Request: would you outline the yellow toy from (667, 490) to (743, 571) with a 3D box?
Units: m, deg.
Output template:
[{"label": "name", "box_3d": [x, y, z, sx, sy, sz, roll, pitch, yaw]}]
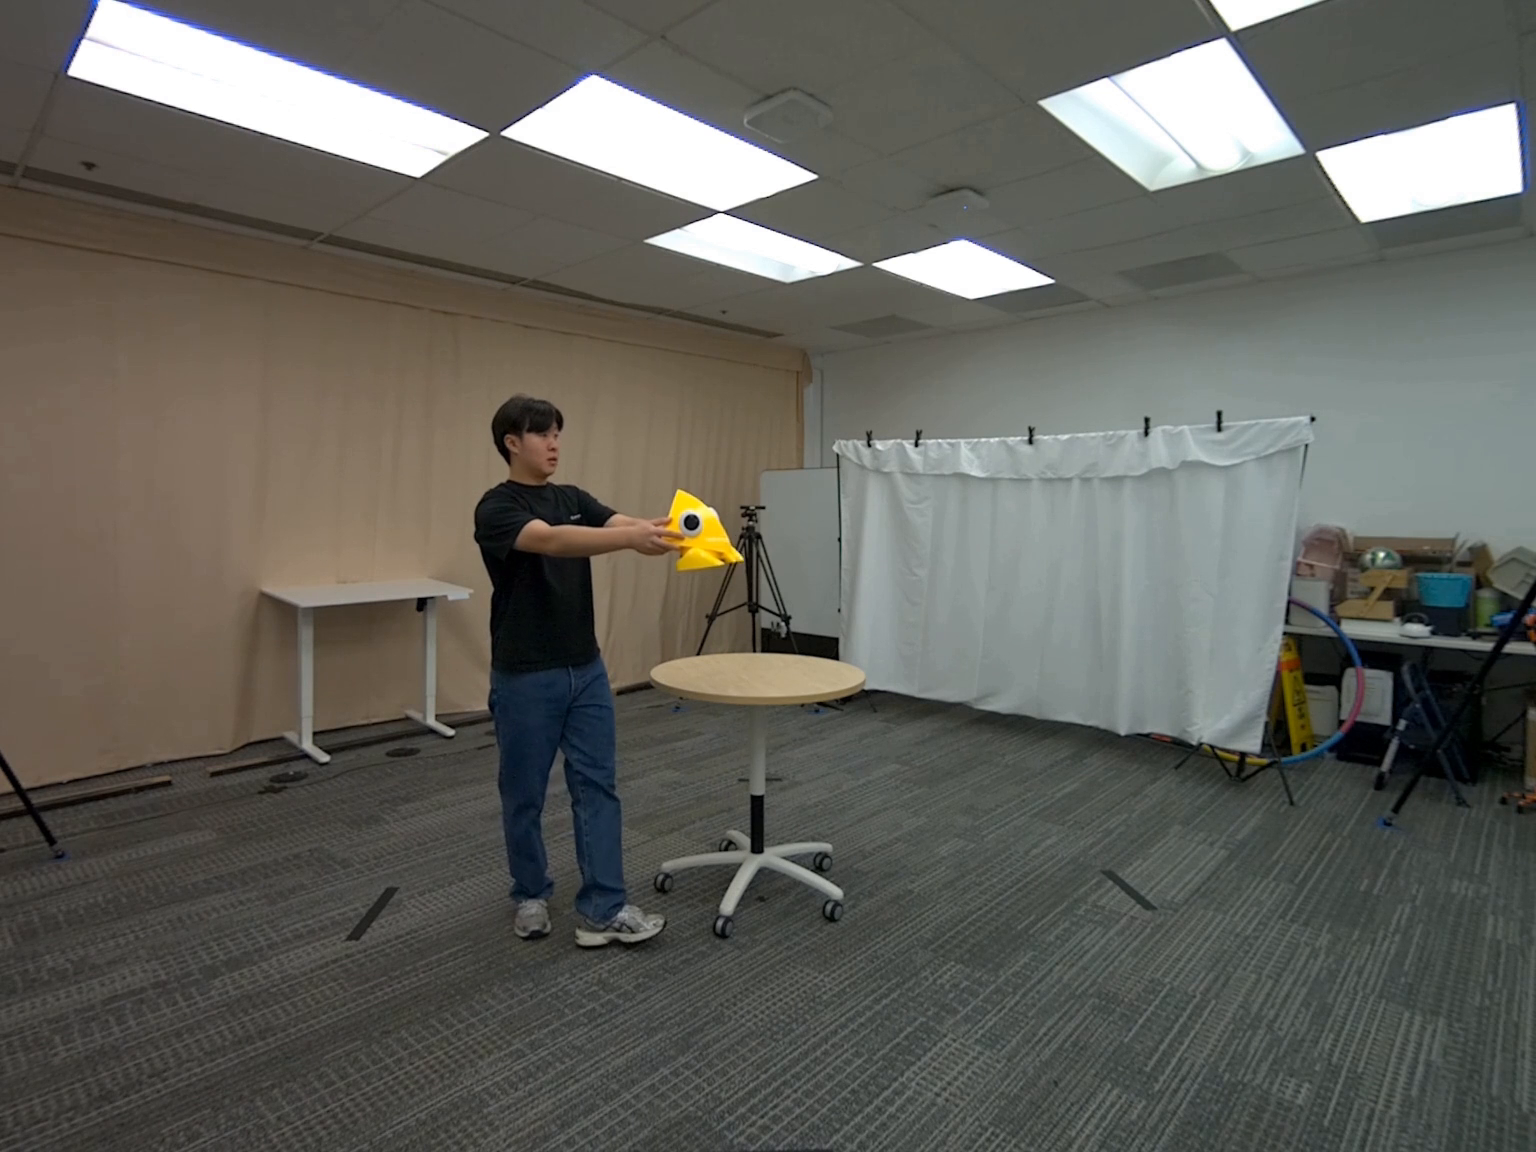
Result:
[{"label": "yellow toy", "box_3d": [-0.190, -0.147, 2.417, 0.198, 0.230, 0.199, -6, 2, 30]}]
